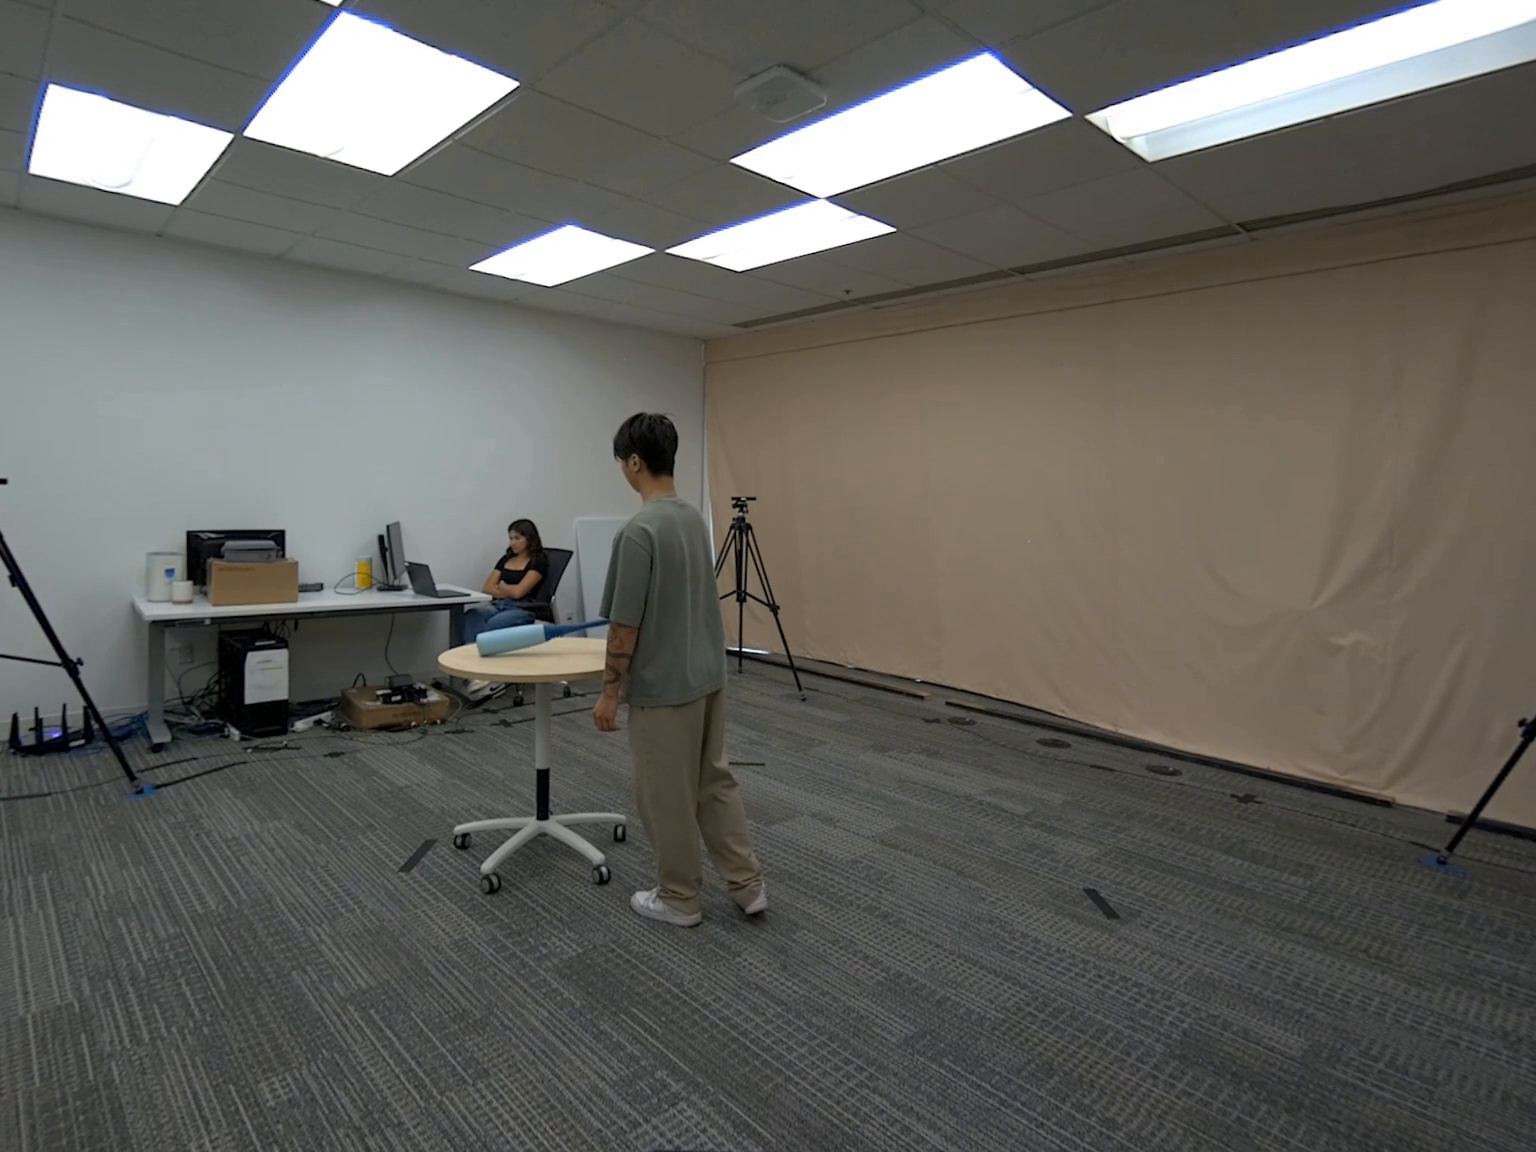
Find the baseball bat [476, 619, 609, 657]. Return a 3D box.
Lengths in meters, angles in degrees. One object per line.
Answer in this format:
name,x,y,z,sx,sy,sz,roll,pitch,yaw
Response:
baseball bat,-0.846,0.215,3.207,0.538,0.088,0.090,-9,7,-12
